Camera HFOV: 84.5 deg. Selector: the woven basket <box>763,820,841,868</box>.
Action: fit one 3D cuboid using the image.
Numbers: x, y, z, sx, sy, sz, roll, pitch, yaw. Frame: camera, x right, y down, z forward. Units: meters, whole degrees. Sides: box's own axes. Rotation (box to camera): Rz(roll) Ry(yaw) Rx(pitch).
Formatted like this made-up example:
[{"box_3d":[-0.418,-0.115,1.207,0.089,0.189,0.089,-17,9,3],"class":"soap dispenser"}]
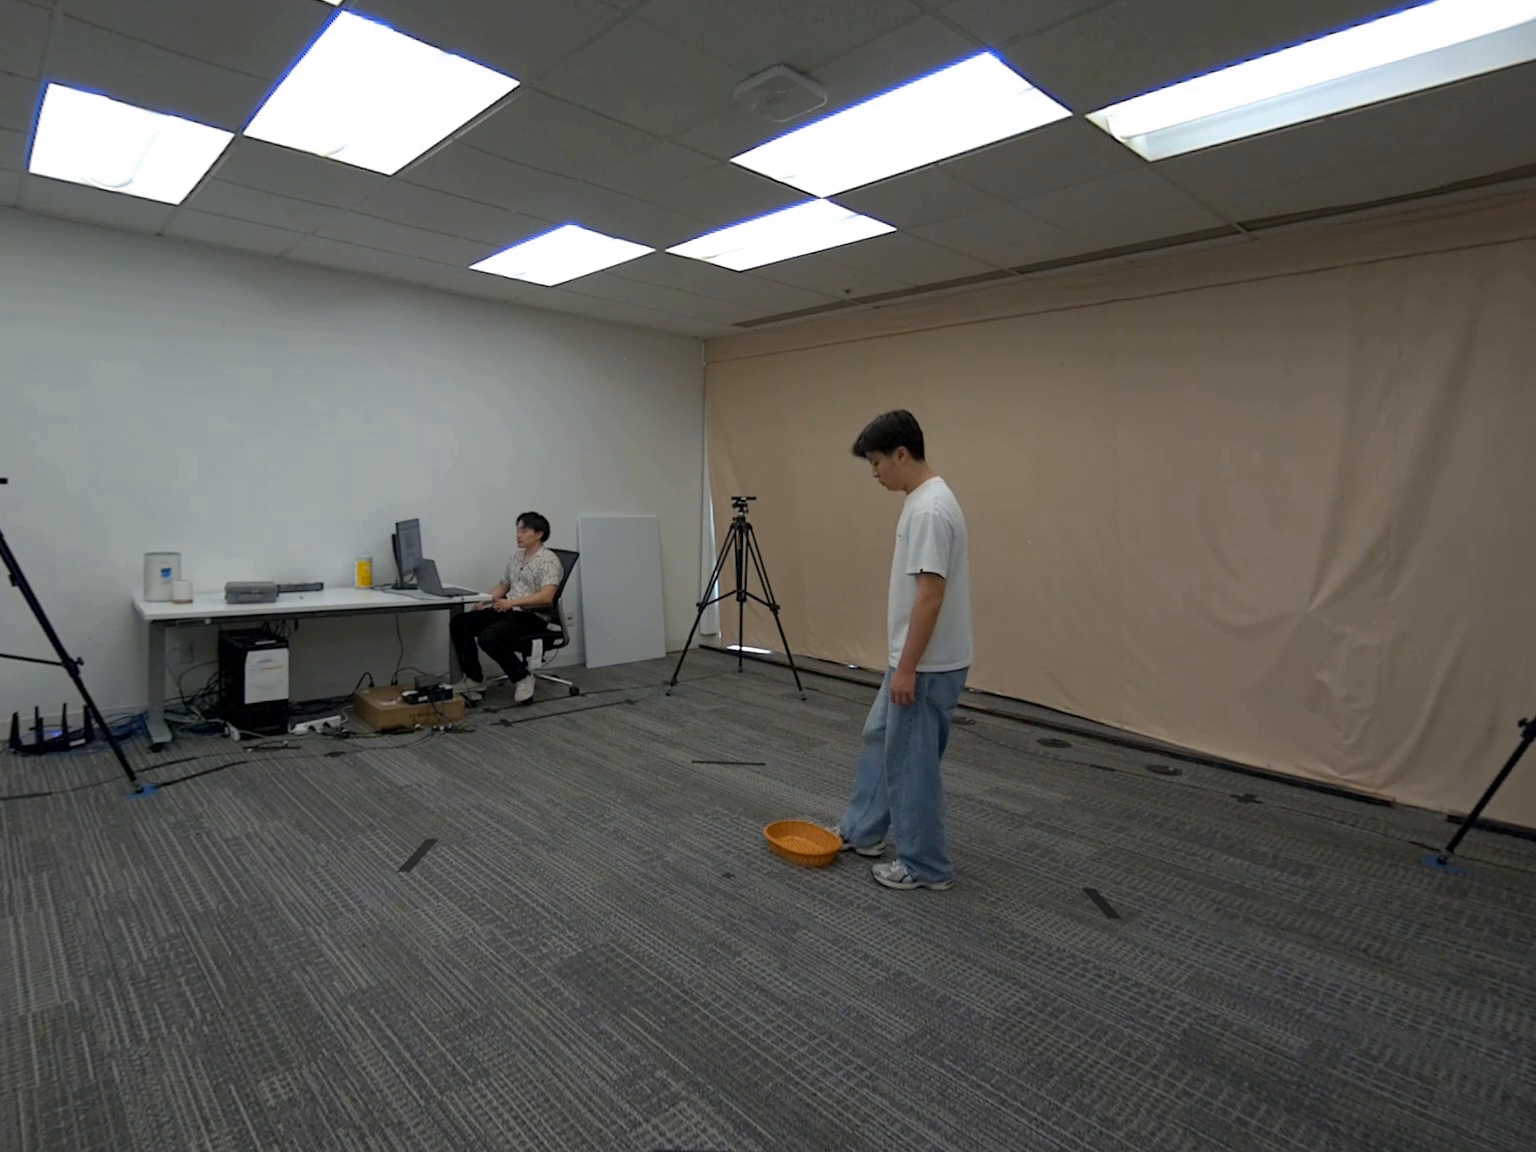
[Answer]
[{"box_3d":[0.129,1.051,3.314,0.247,0.073,0.359,-3,6,-35],"class":"woven basket"}]
